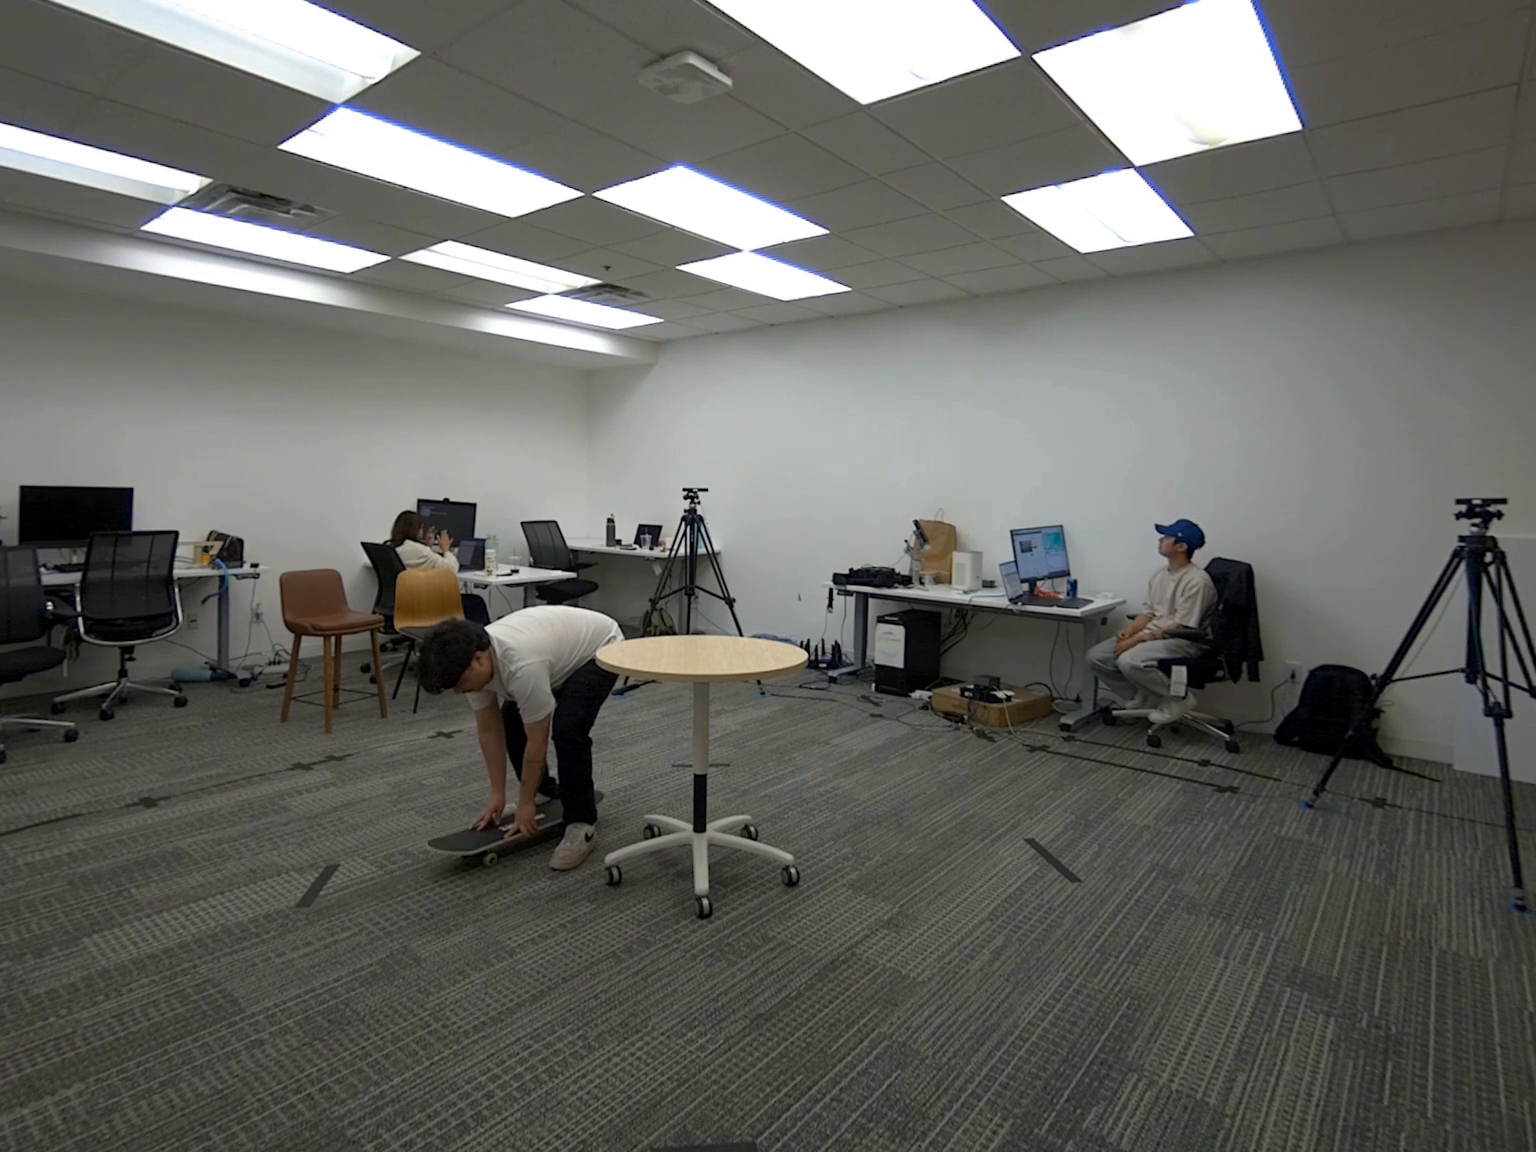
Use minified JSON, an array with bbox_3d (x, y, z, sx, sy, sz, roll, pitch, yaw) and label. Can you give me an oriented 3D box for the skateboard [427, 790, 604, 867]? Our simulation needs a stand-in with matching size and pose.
[{"bbox_3d":[-0.964,0.991,3.298,0.200,0.110,0.762,4,6,40],"label":"skateboard"}]
